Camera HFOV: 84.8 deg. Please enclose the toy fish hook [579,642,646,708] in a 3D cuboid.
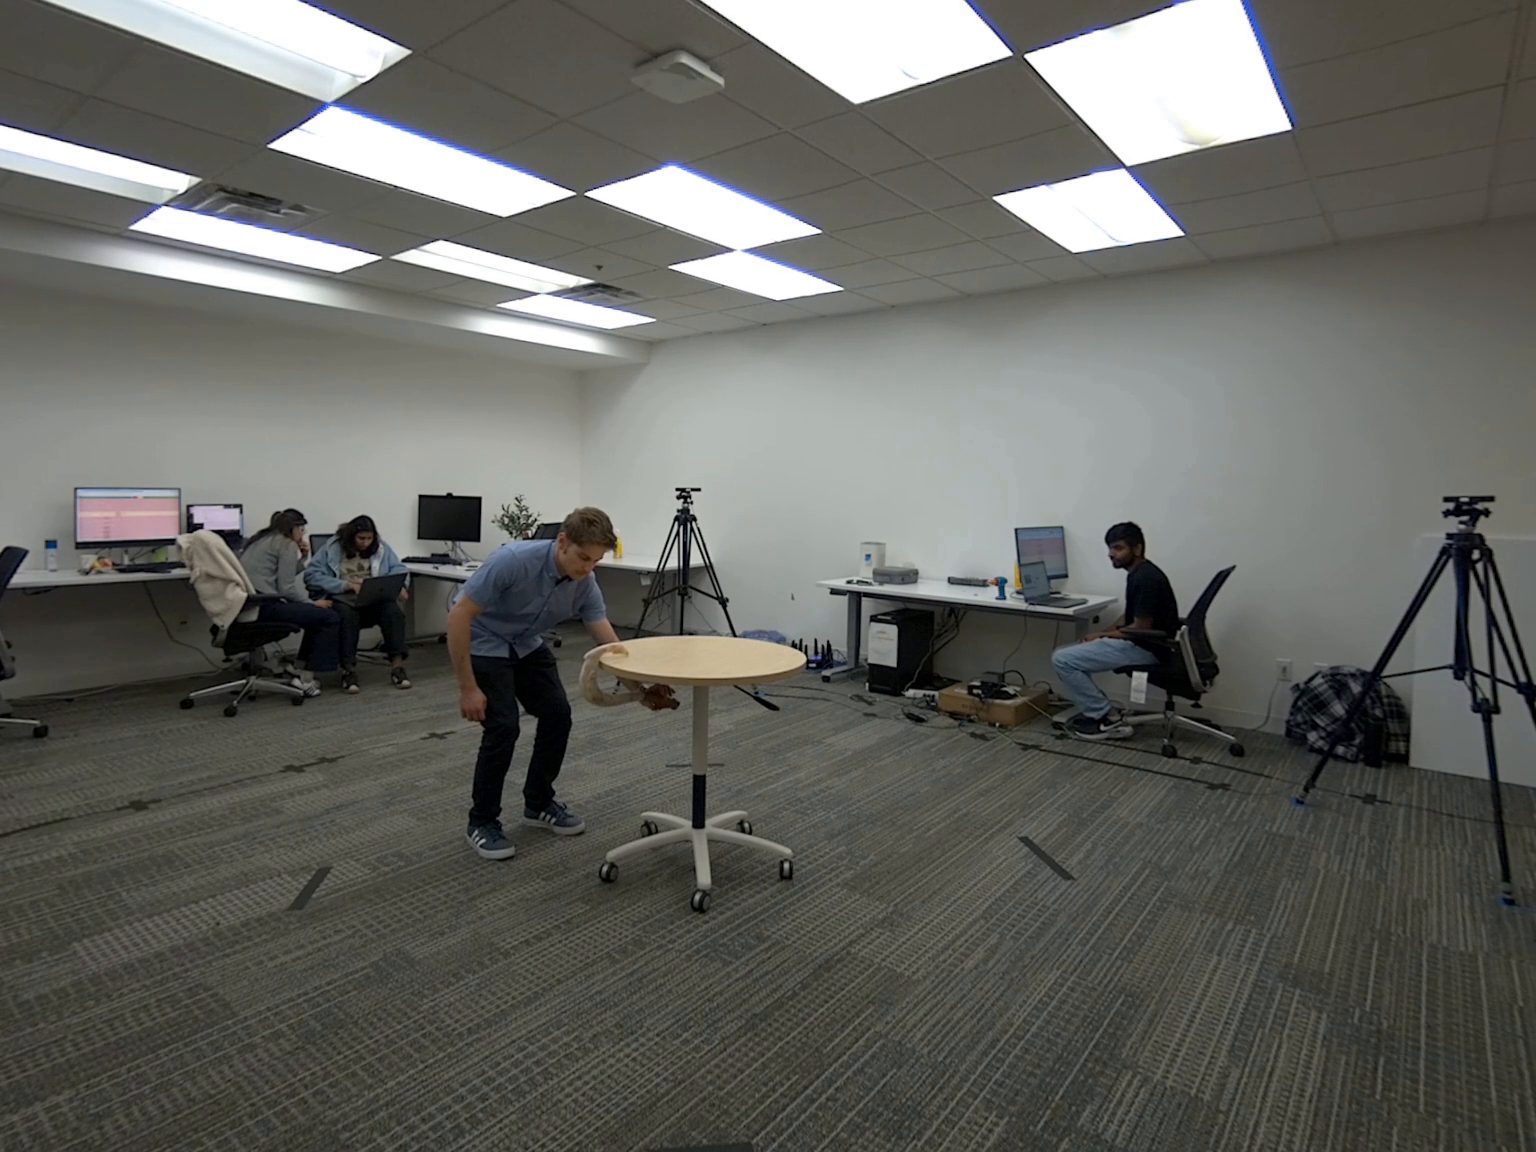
[{"bbox_3d":[-0.501,0.376,3.091,0.050,0.225,0.487,11,-6,45],"label":"toy fish hook"}]
